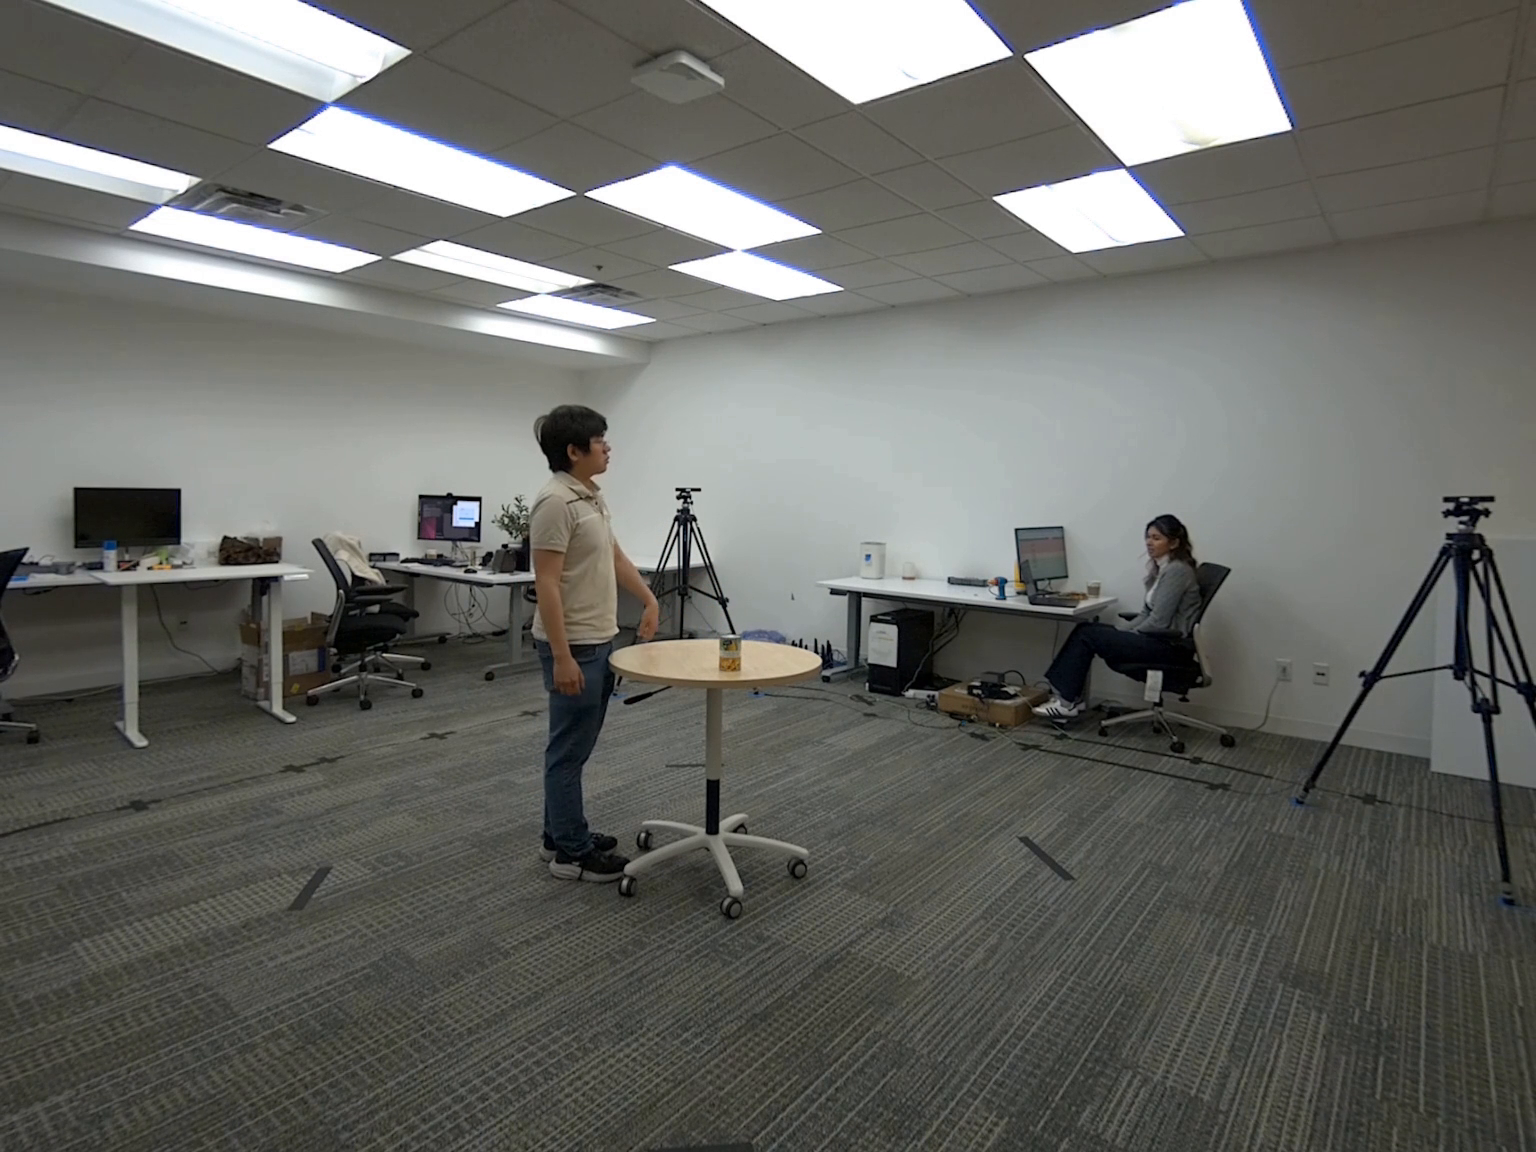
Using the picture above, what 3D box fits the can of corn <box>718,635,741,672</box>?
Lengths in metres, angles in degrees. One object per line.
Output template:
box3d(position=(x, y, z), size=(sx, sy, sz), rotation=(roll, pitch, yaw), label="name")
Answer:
box3d(position=(-0.143, 0.254, 2.851), size=(0.074, 0.110, 0.074), rotation=(1, 5, -2), label="can of corn")
